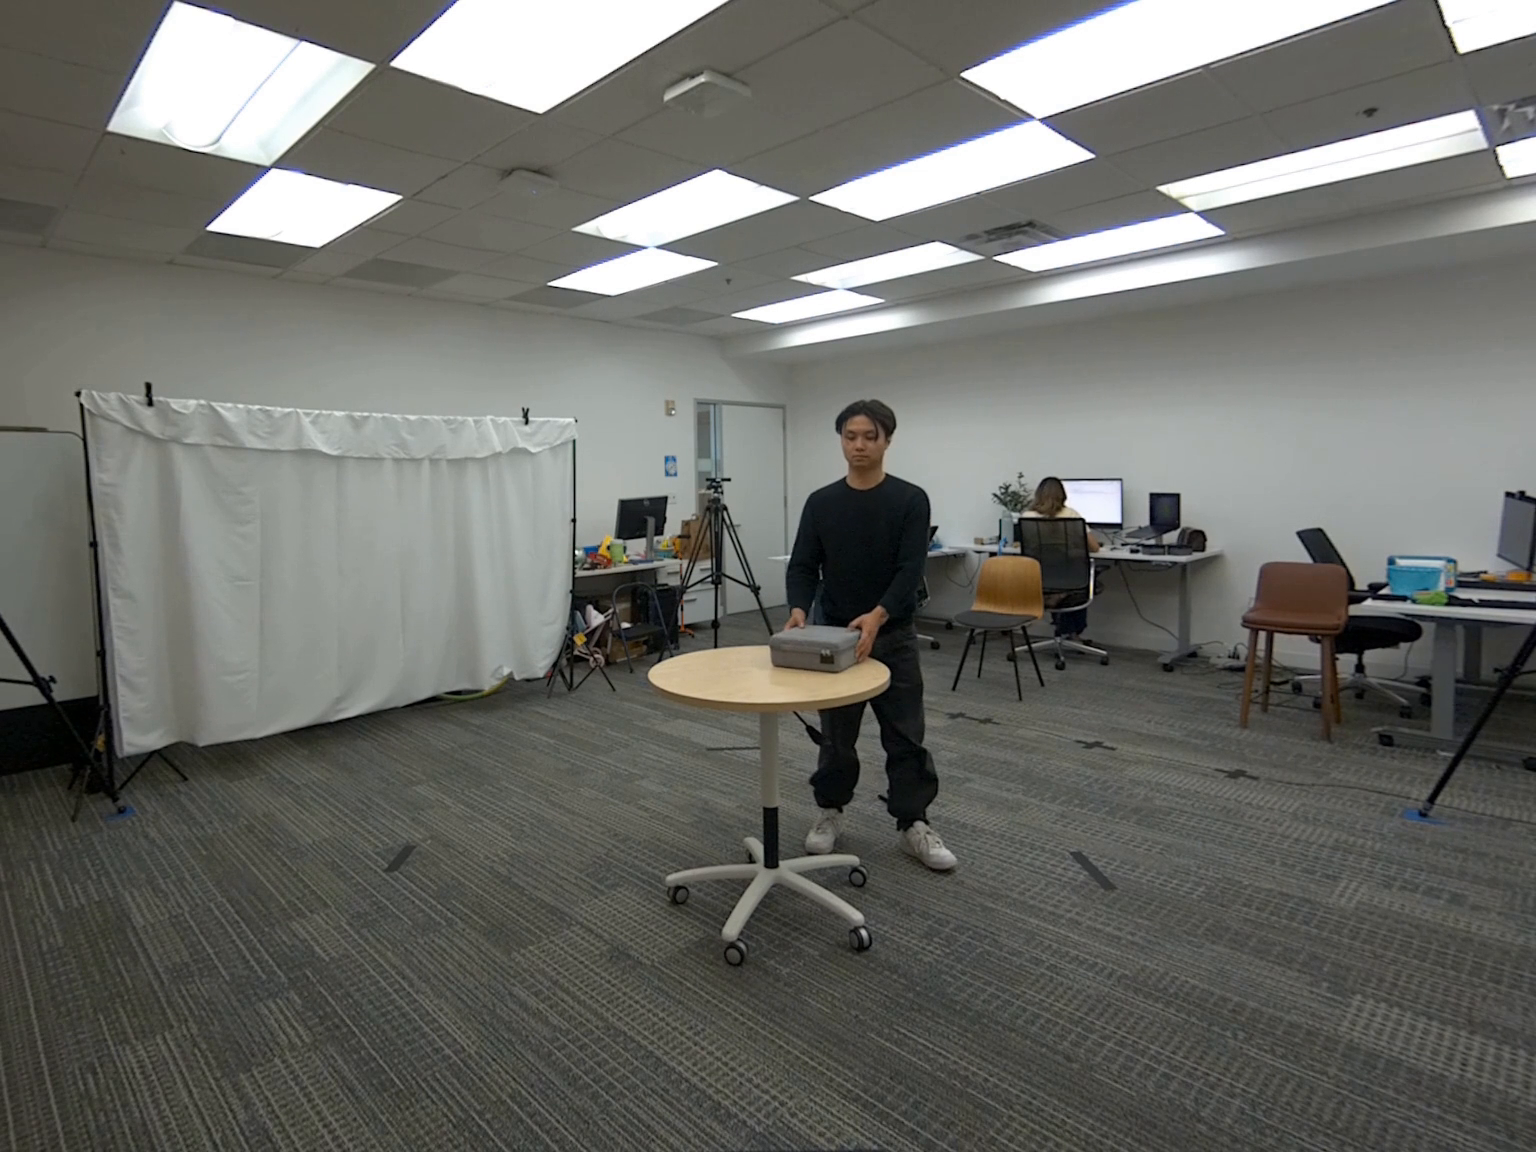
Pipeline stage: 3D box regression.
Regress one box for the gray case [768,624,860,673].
[{"bbox_3d":[0.171,0.237,2.816,0.263,0.104,0.255,1,7,28],"label":"gray case"}]
